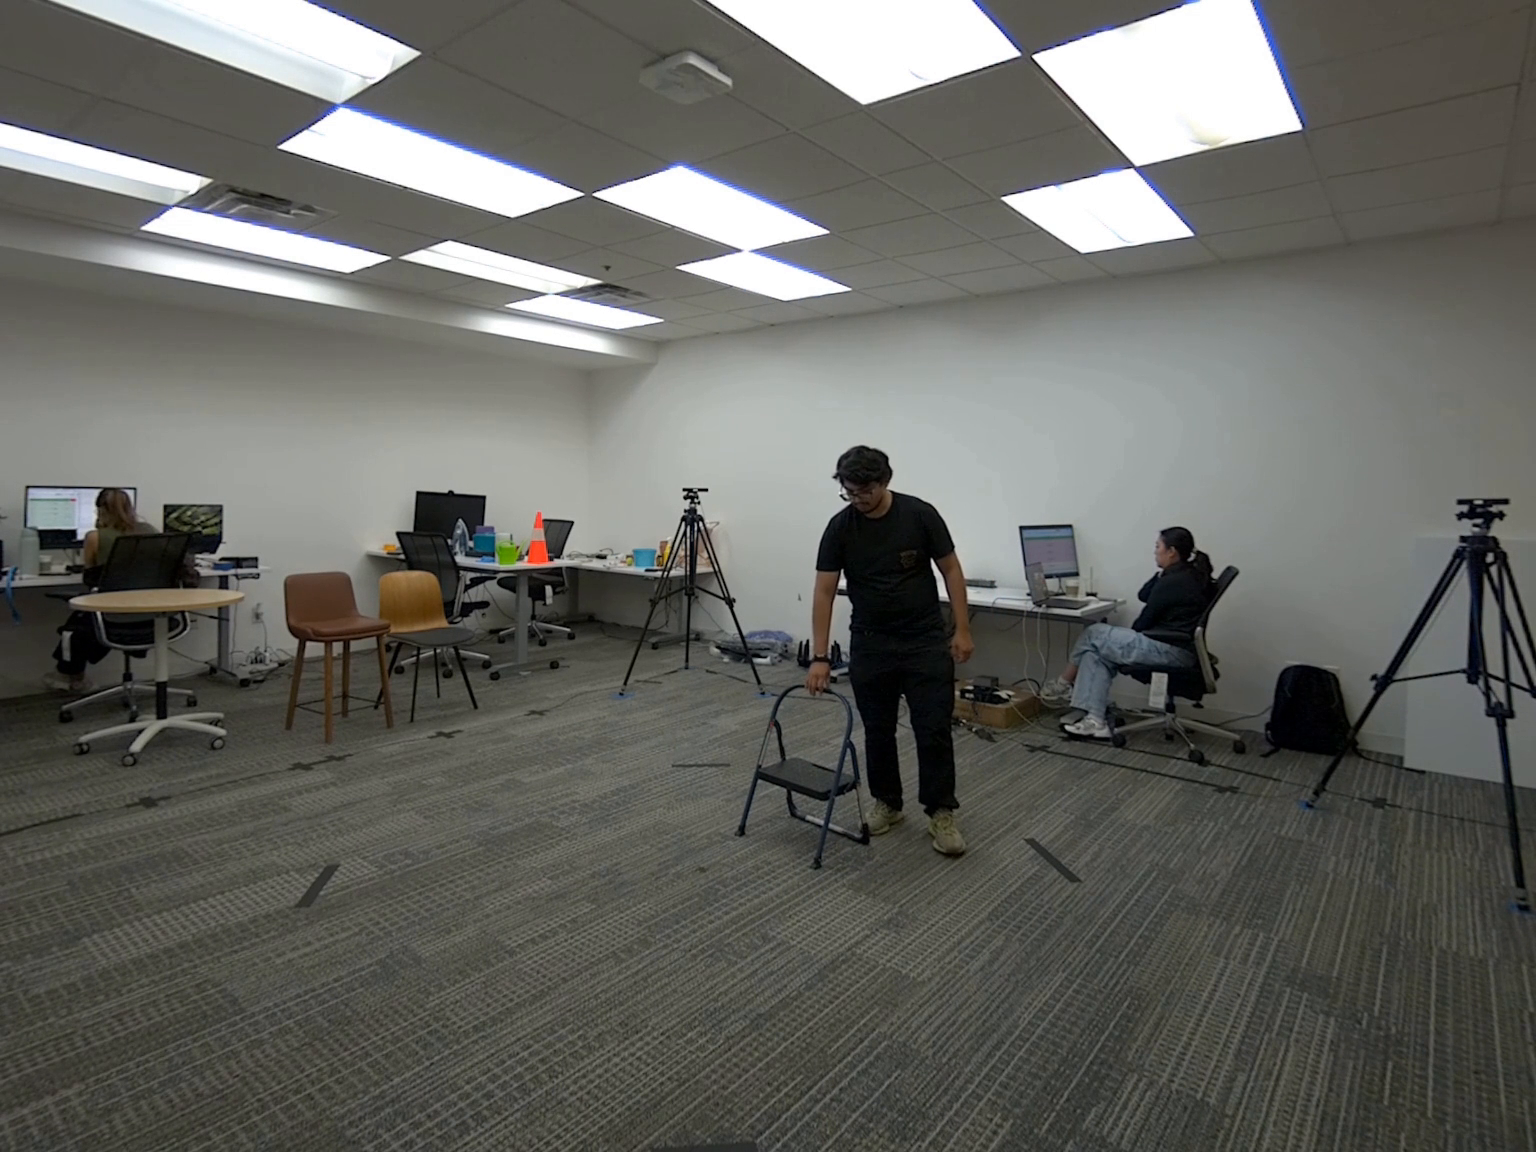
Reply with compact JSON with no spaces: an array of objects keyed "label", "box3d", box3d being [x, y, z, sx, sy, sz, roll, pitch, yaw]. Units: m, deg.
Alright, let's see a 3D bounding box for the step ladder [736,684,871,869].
[{"label":"step ladder","box3d":[0.140,0.751,3.385,0.445,0.604,0.338,5,5,43]}]
